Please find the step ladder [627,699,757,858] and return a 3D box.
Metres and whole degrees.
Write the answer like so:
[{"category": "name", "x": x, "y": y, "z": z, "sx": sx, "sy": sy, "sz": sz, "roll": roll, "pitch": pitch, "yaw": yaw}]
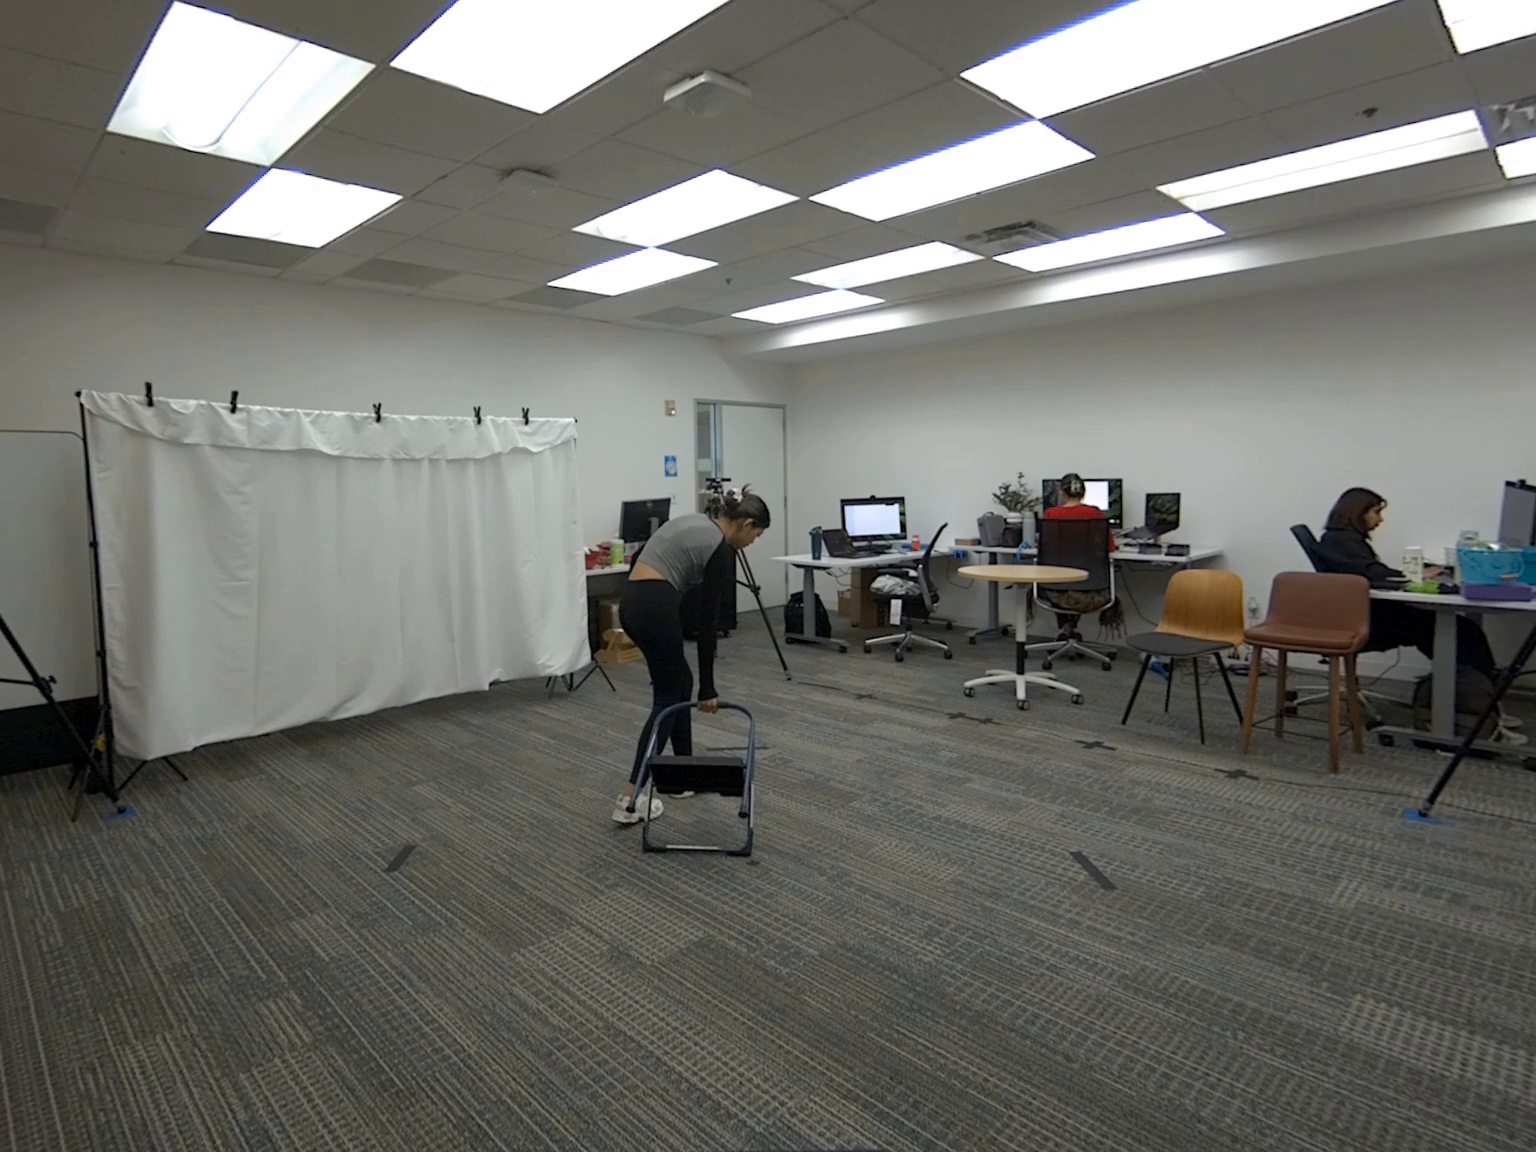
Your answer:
[{"category": "step ladder", "x": -0.260, "y": 0.705, "z": 3.278, "sx": 0.433, "sy": 0.339, "sz": 0.621, "roll": 0, "pitch": 46, "yaw": 5}]
